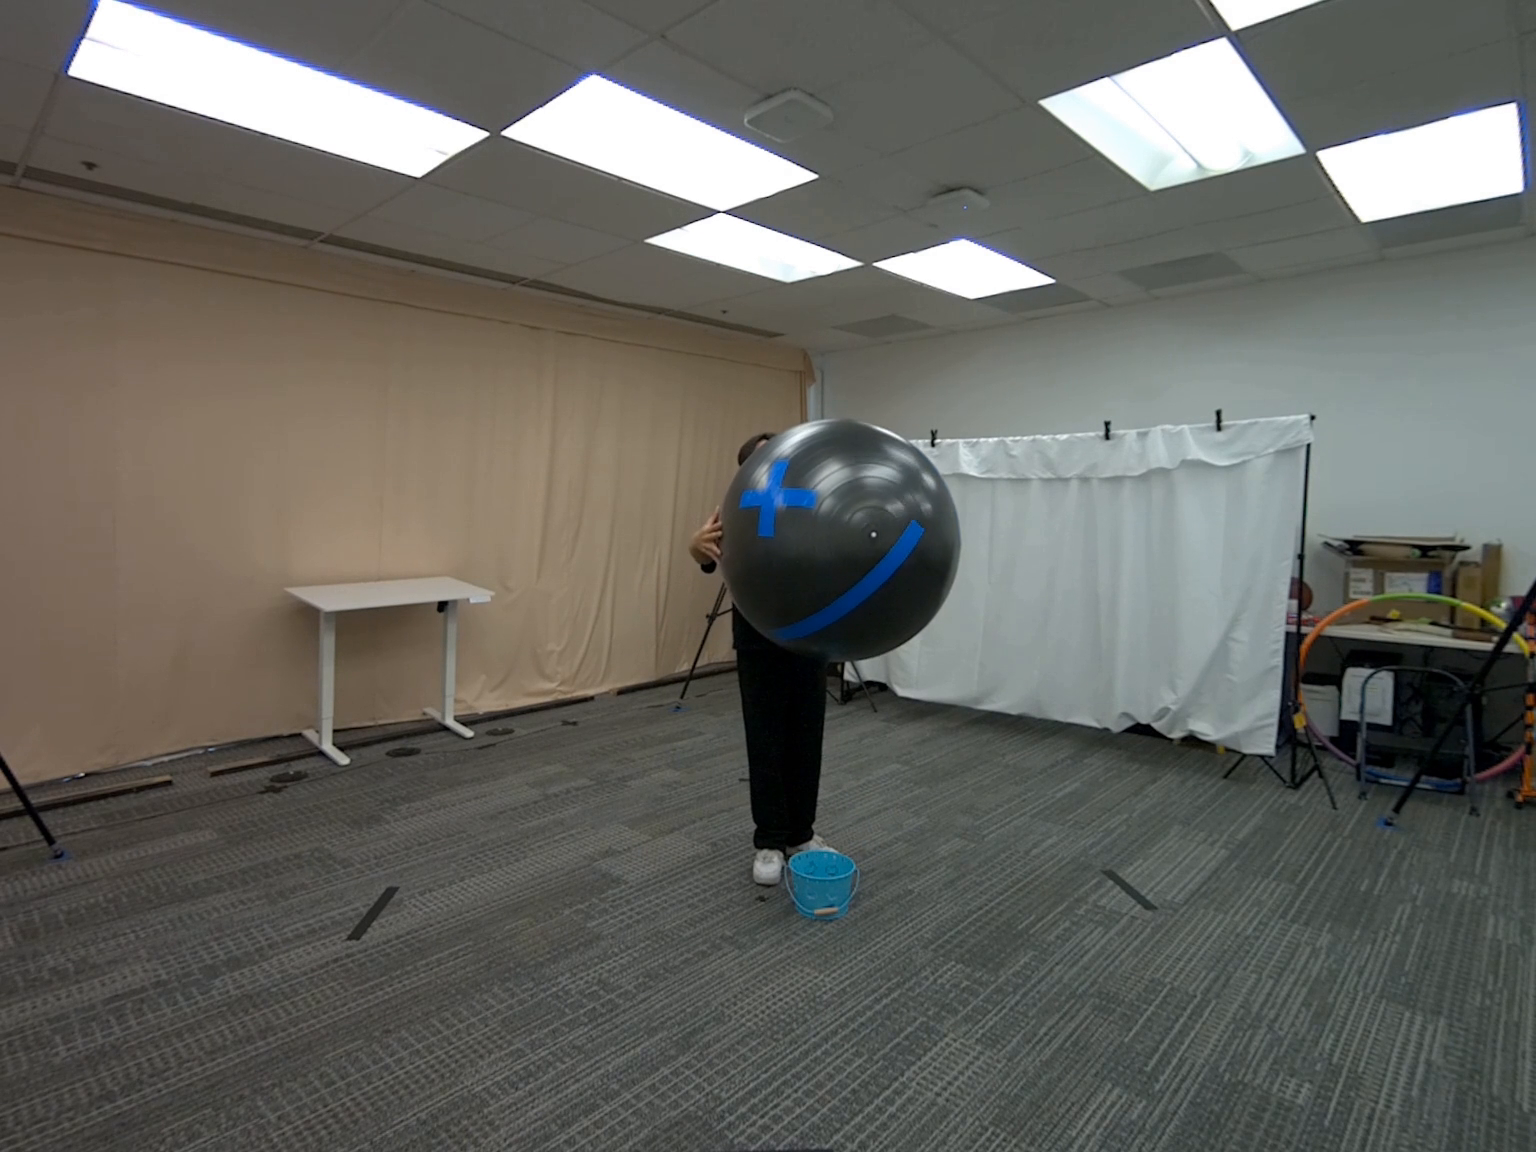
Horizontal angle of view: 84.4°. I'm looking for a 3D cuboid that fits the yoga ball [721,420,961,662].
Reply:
[{"bbox_3d":[0.218,-0.105,2.655,0.757,0.756,0.761,0,4,-2],"label":"yoga ball"}]
